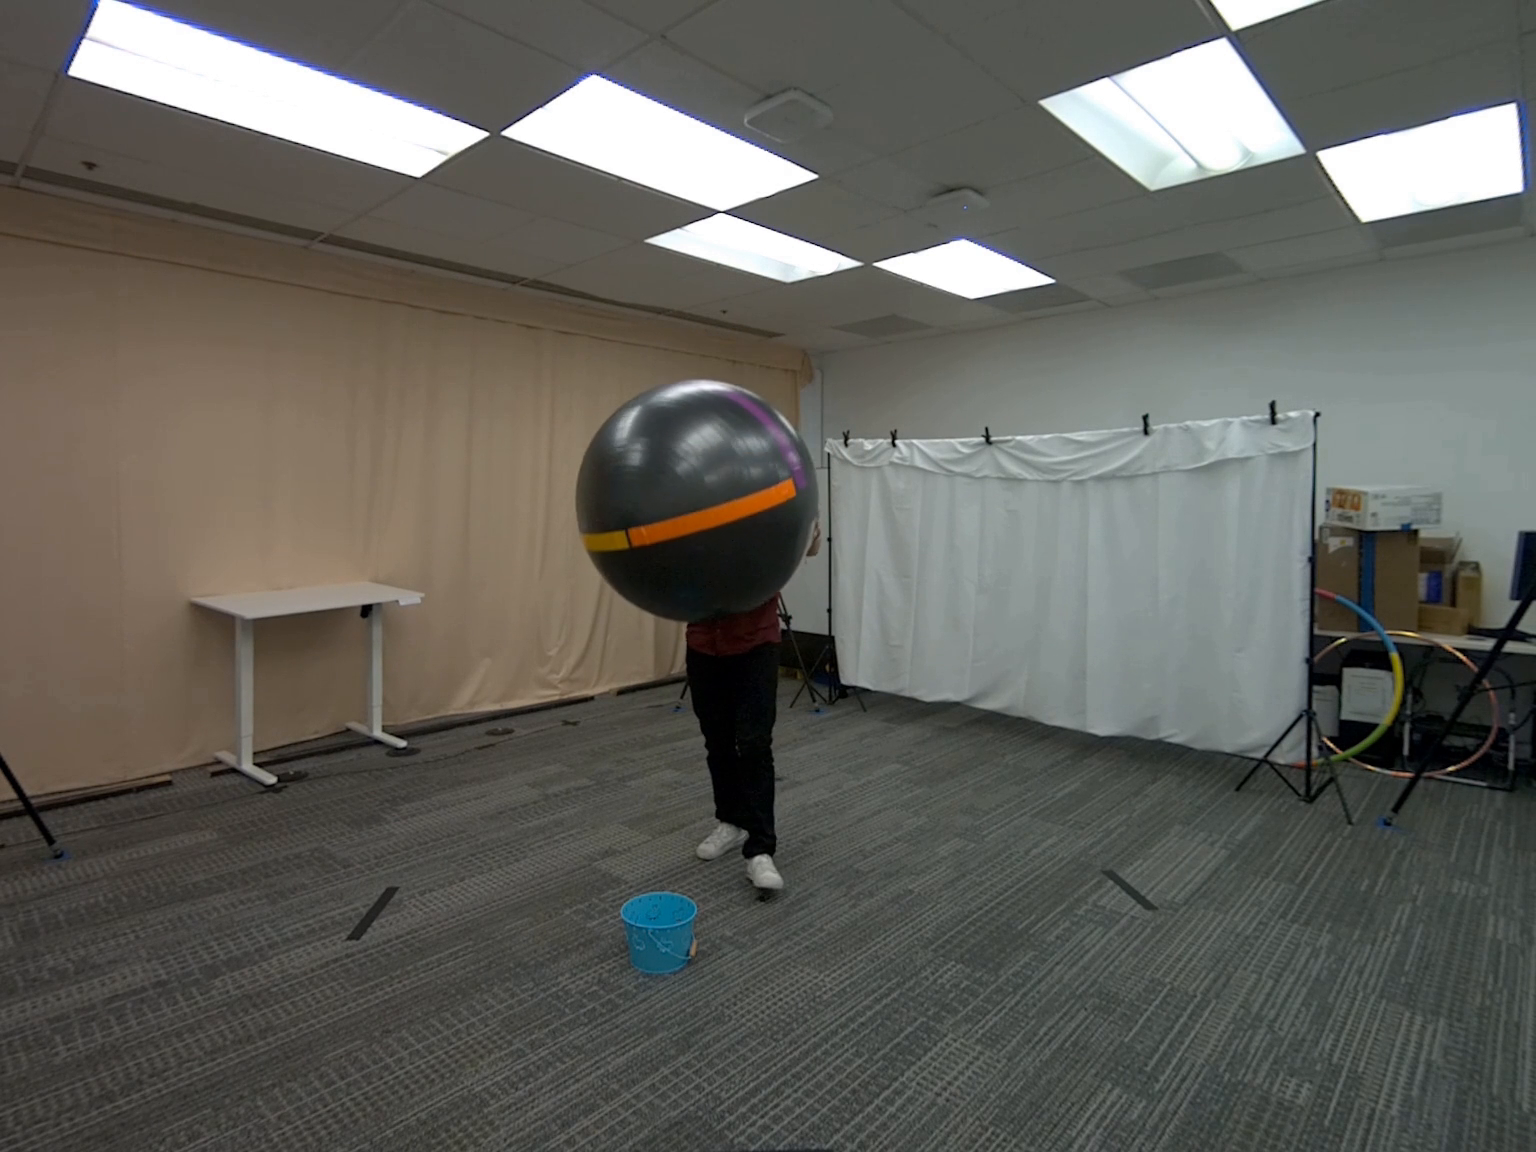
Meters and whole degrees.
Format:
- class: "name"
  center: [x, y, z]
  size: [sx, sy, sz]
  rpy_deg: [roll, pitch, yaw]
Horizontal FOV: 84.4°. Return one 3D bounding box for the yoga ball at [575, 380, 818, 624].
- class: "yoga ball"
  center: [-0.220, -0.226, 2.649]
  size: [0.757, 0.756, 0.760]
  rpy_deg: [0, 4, -2]
